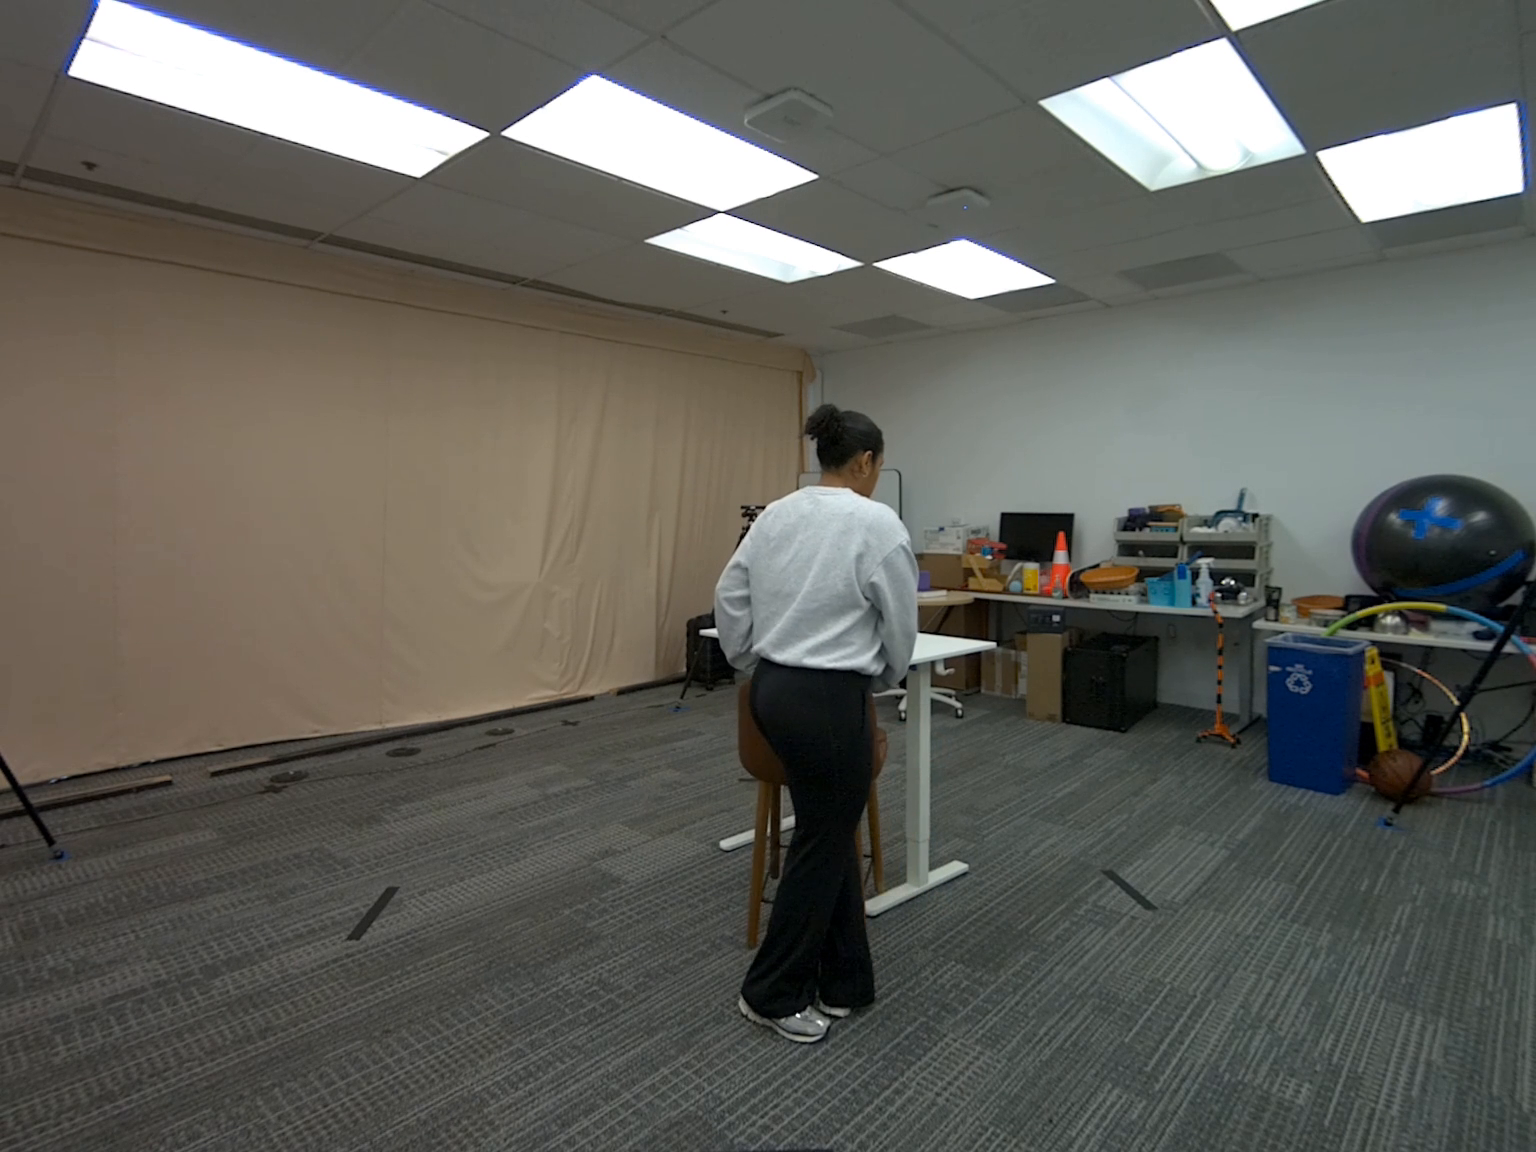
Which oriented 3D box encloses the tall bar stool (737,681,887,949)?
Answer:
[{"bbox_3d":[0.155,0.716,2.745,0.465,0.884,0.462,2,10,16],"label":"tall bar stool"}]
